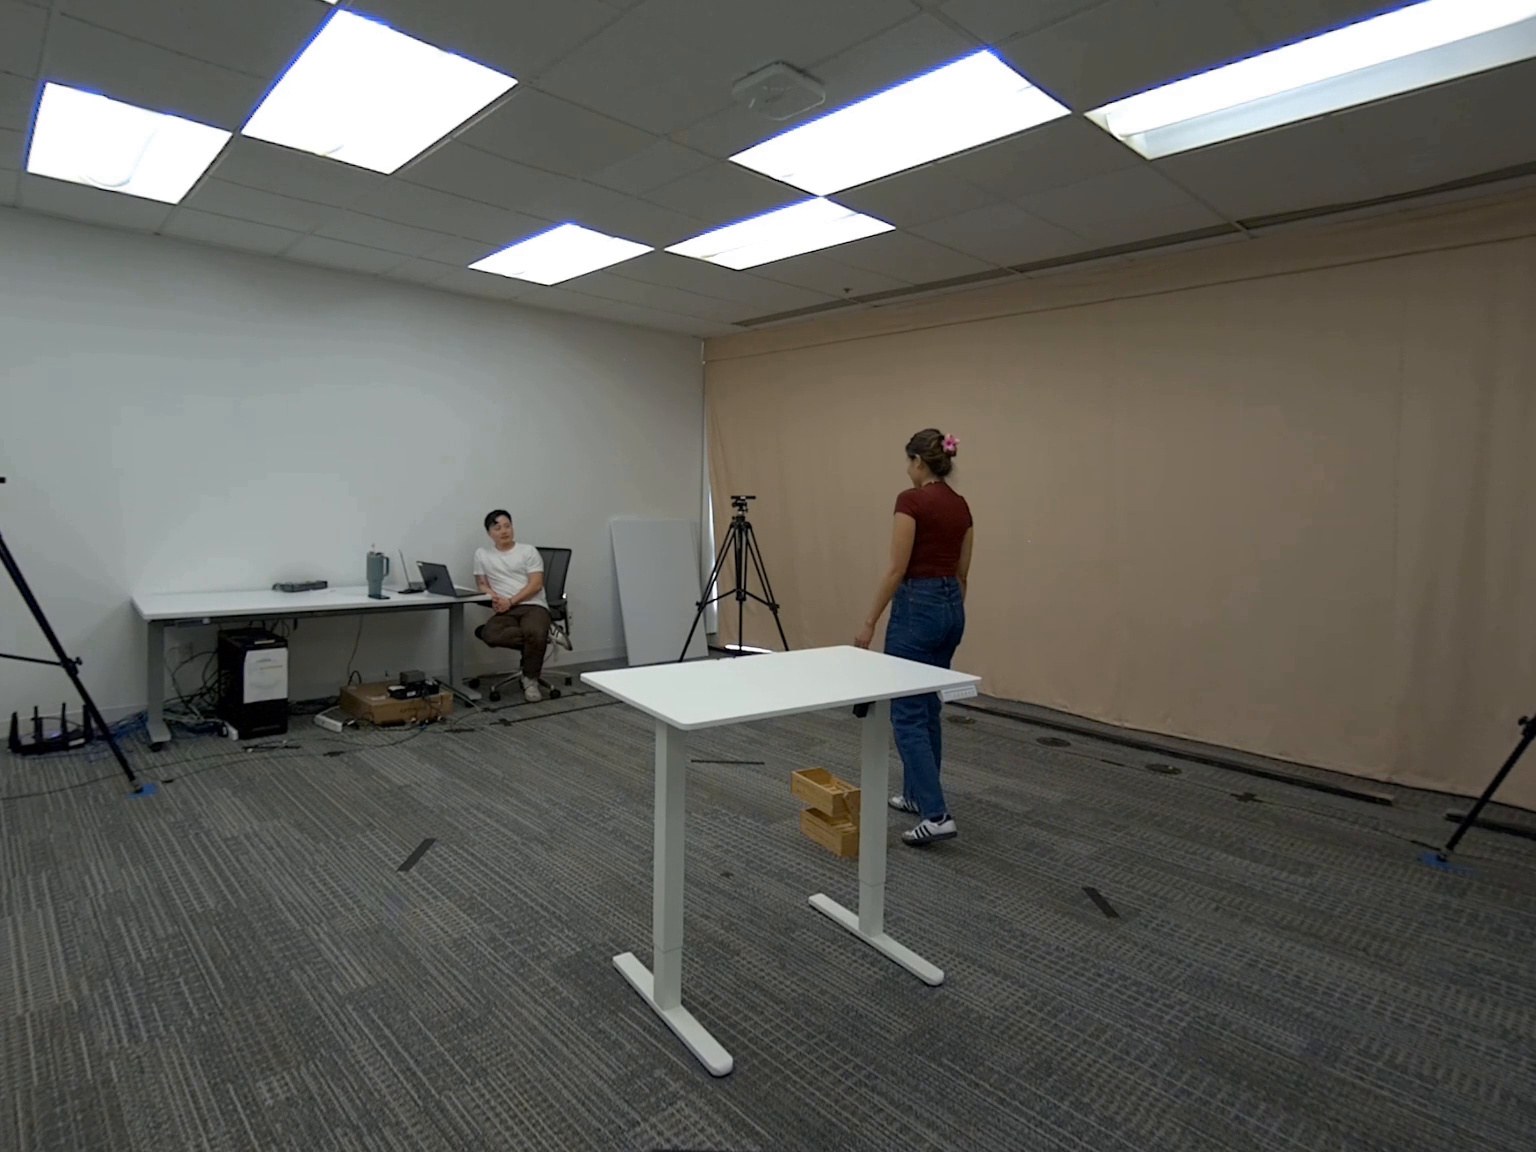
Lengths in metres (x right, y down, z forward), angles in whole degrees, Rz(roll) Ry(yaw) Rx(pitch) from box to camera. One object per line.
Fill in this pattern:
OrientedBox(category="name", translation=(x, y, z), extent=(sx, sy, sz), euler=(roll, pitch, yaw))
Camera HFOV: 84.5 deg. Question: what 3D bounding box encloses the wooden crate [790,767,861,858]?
OrientedBox(category="wooden crate", translation=(0.291, 0.947, 3.444), extent=(0.296, 0.272, 0.332), euler=(-1, 5, -30))
